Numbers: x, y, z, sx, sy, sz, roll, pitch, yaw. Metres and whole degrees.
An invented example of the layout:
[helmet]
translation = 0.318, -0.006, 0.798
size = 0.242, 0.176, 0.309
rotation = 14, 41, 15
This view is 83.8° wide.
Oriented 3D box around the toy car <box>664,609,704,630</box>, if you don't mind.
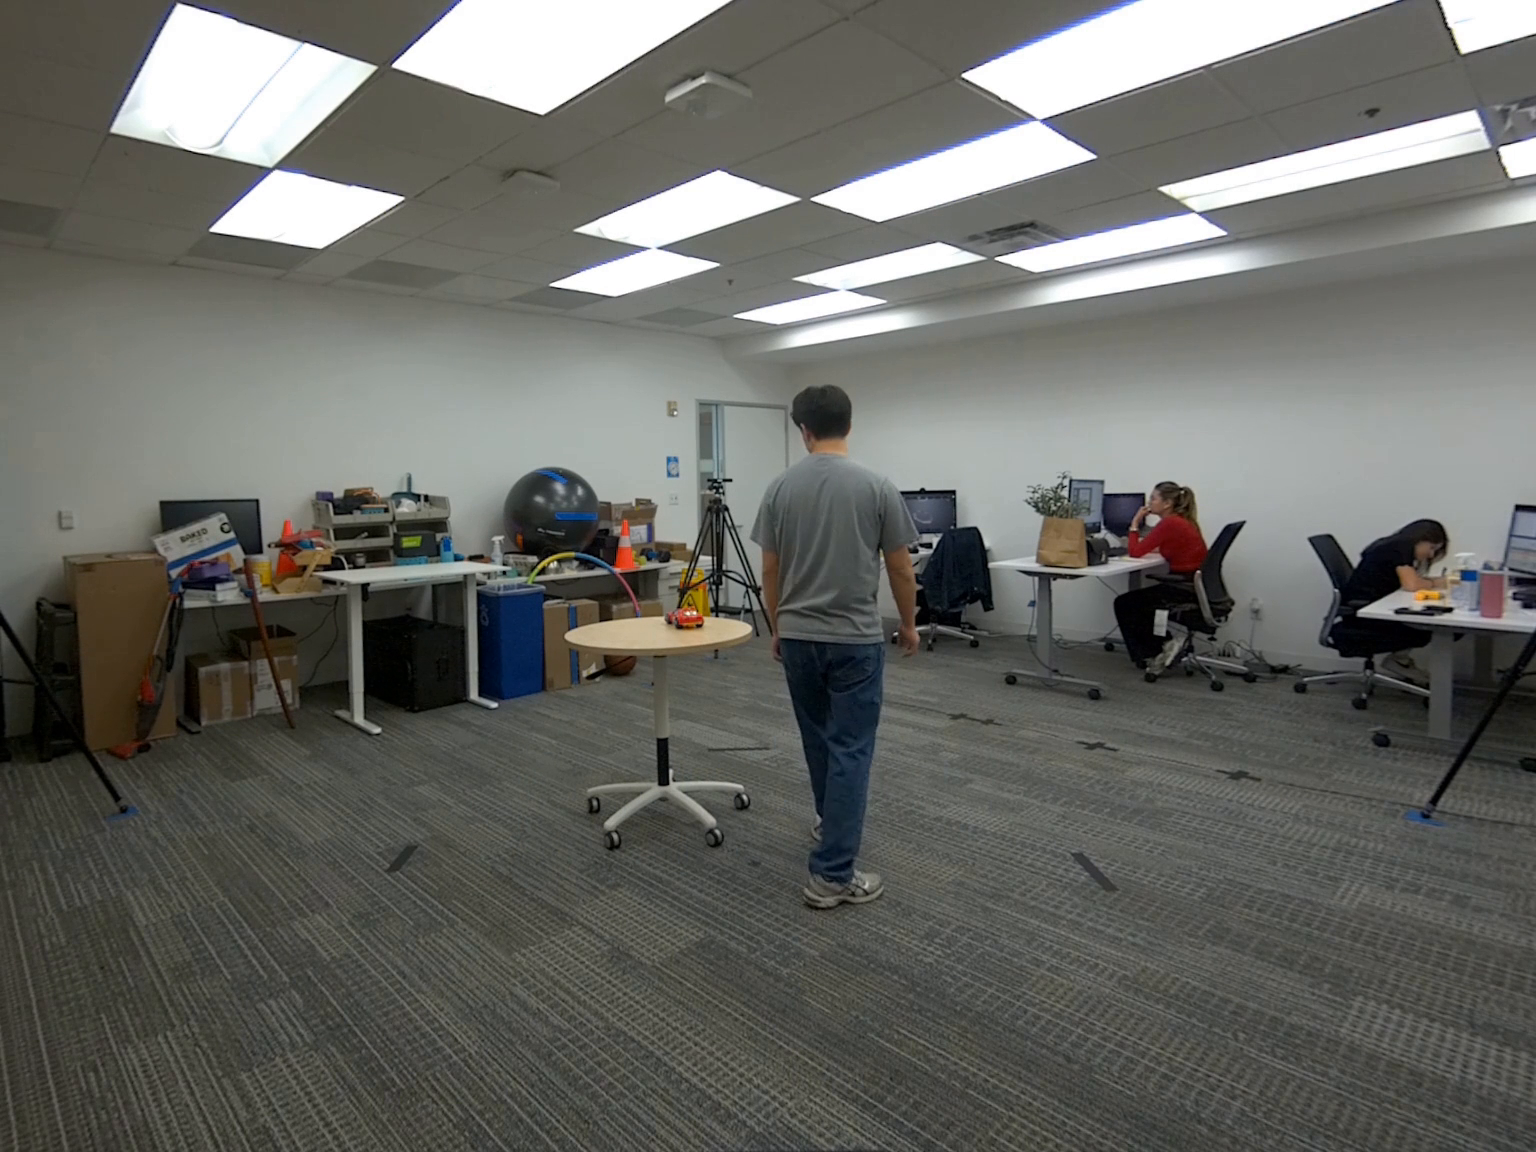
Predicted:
[toy car]
translation = -0.351, 0.179, 3.610
size = 0.128, 0.084, 0.257
rotation = -2, -5, -21
